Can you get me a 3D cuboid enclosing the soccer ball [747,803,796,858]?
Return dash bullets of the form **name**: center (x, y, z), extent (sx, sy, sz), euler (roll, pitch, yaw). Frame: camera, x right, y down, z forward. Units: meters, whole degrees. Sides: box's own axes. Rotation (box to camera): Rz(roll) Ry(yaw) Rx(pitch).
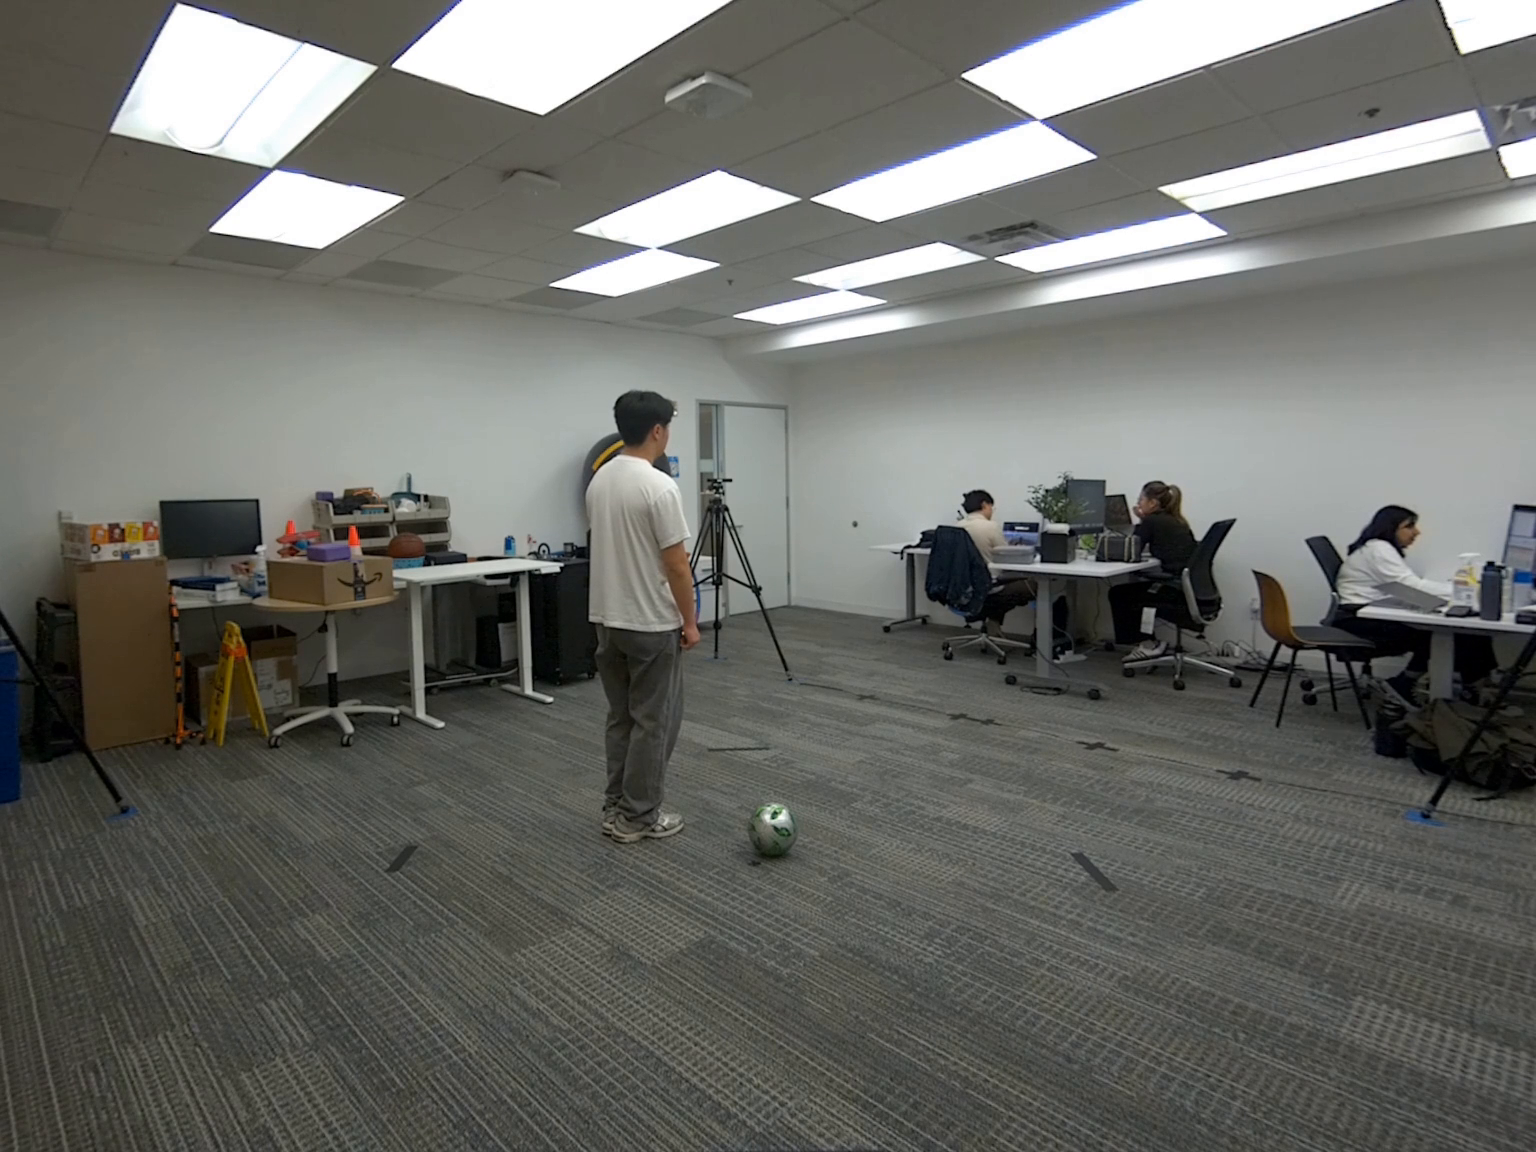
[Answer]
- **soccer ball**: center (0.021, 0.941, 3.185), extent (0.187, 0.187, 0.188), euler (-1, 5, -2)
